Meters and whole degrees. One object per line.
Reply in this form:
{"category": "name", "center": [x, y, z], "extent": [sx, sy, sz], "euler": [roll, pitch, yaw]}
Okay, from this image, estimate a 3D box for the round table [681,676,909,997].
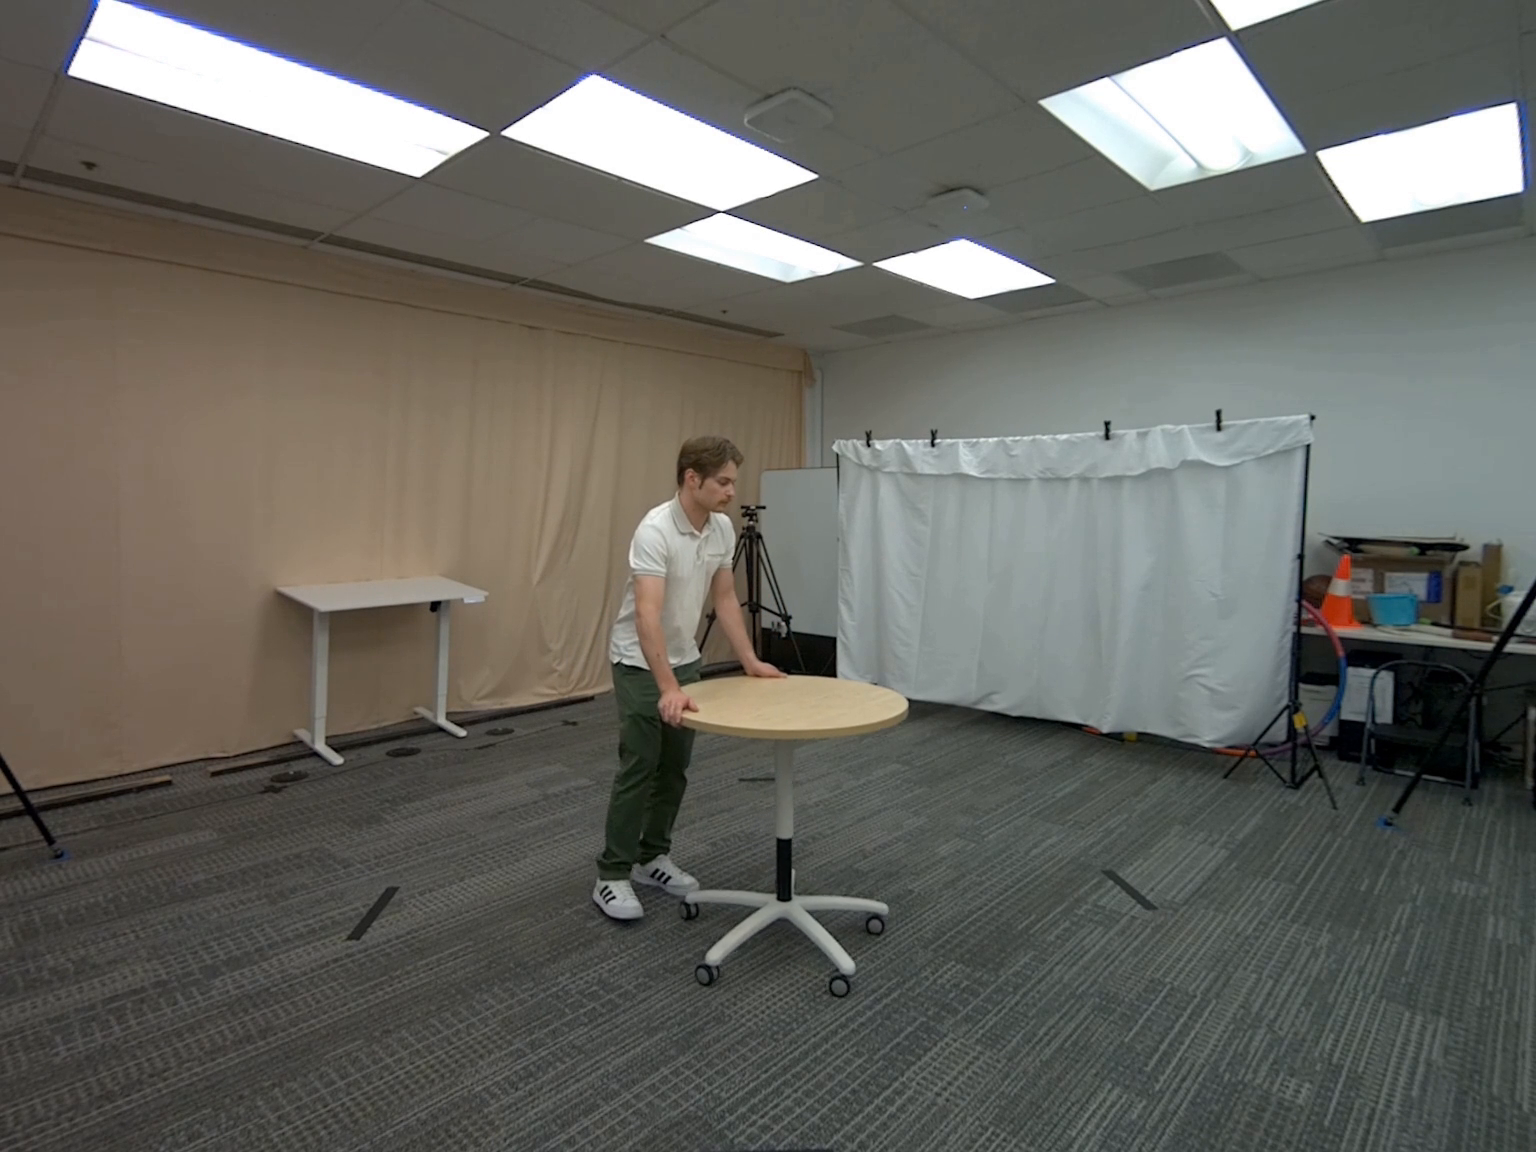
{"category": "round table", "center": [0.057, 0.782, 2.668], "extent": [0.763, 0.792, 0.767], "euler": [0, 4, -2]}
